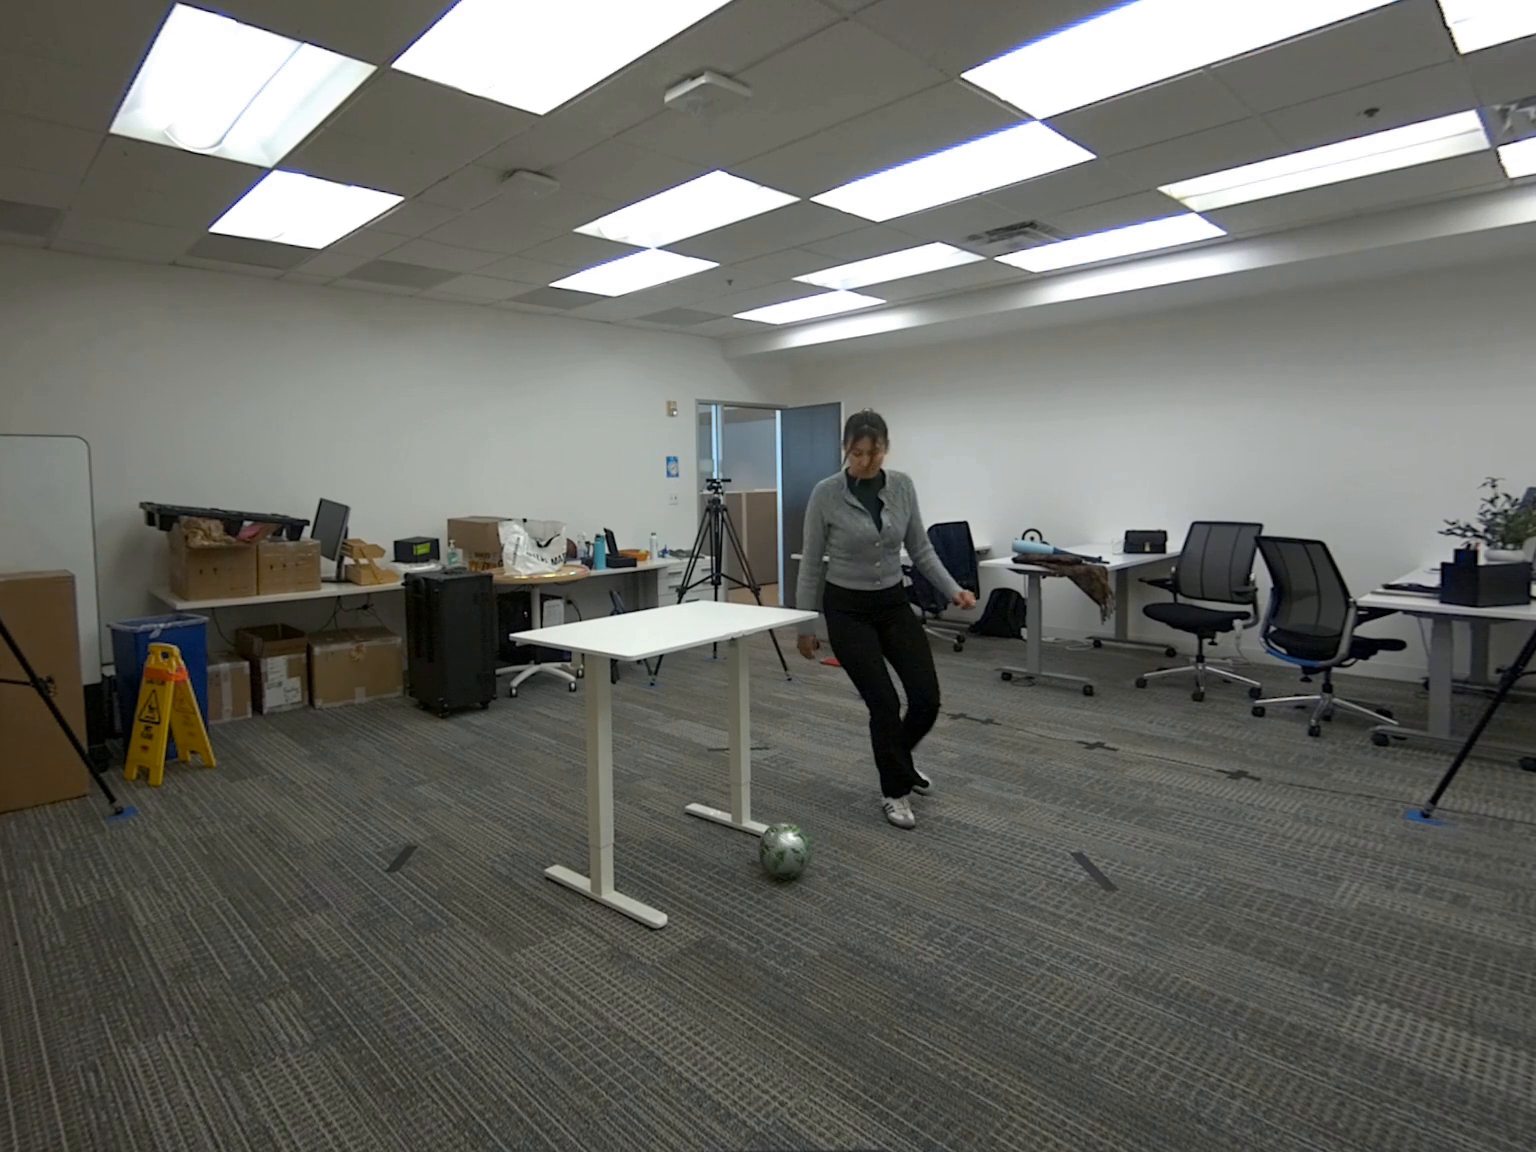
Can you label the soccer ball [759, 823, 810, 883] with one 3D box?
[{"bbox_3d":[0.060,0.960,2.987,0.187,0.187,0.188,-1,5,-2],"label":"soccer ball"}]
